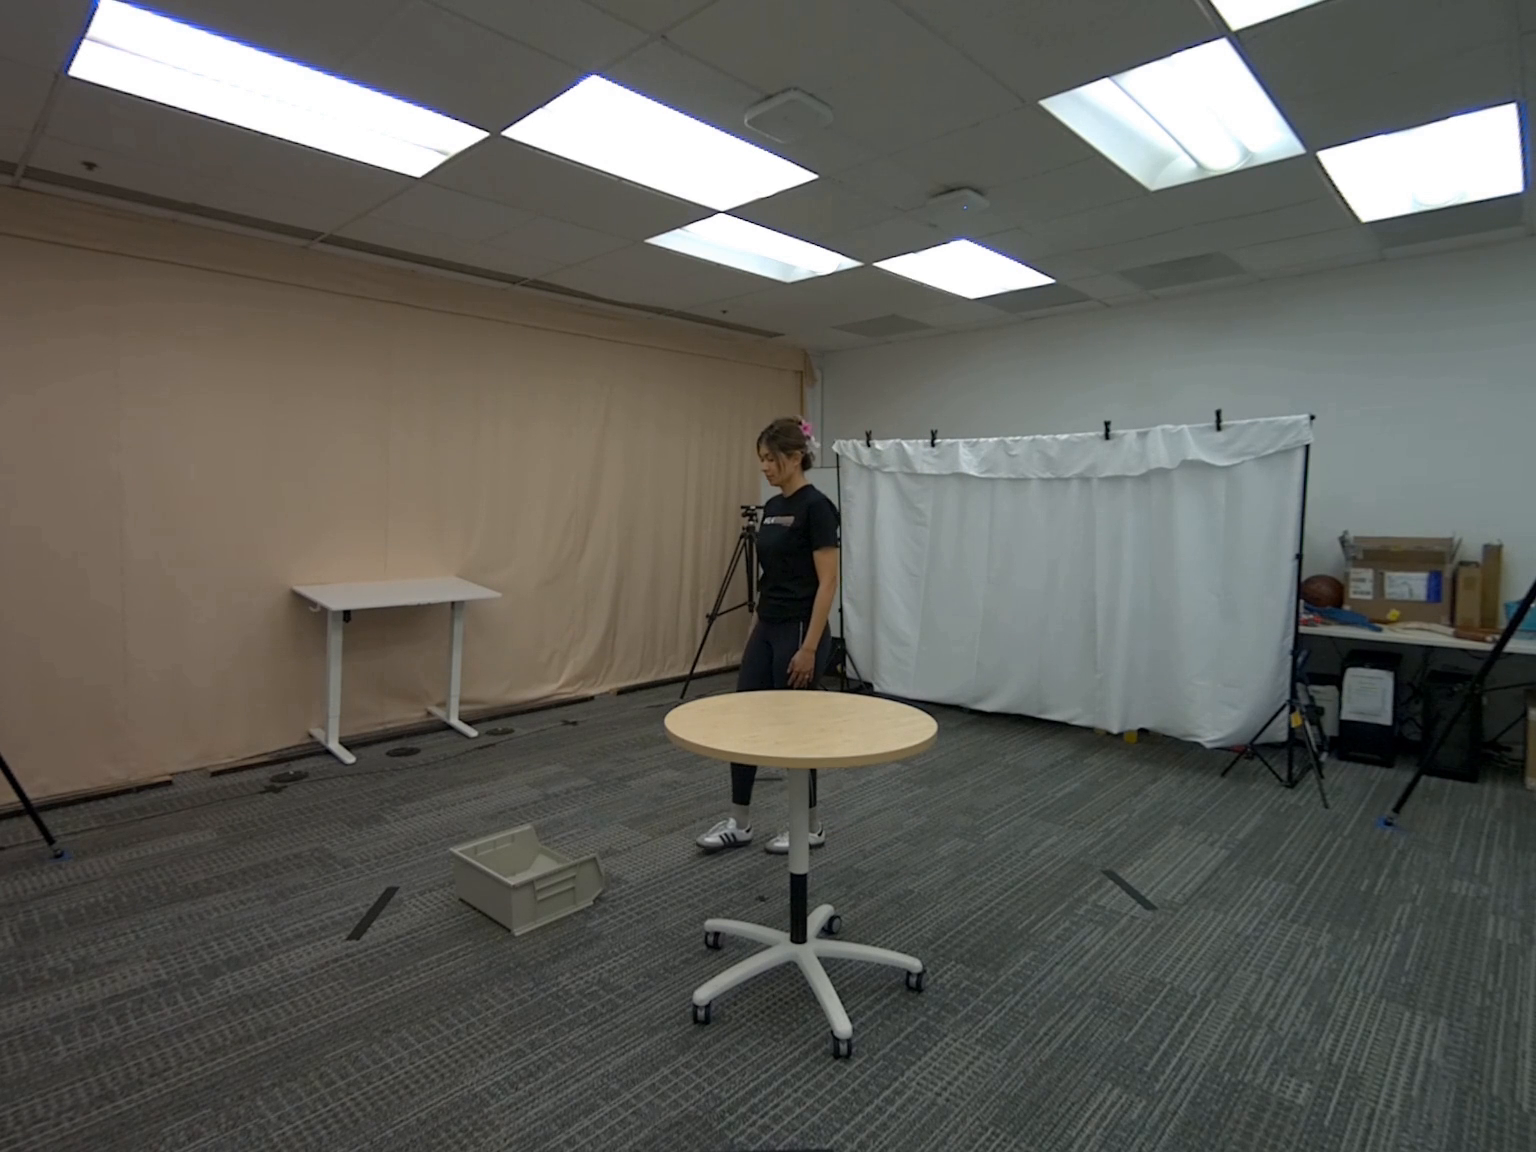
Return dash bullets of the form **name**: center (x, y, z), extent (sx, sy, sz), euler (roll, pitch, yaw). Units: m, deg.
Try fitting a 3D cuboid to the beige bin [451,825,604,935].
- **beige bin**: center (-0.858, 1.063, 2.991), extent (0.436, 0.188, 0.366), euler (5, 7, 42)
